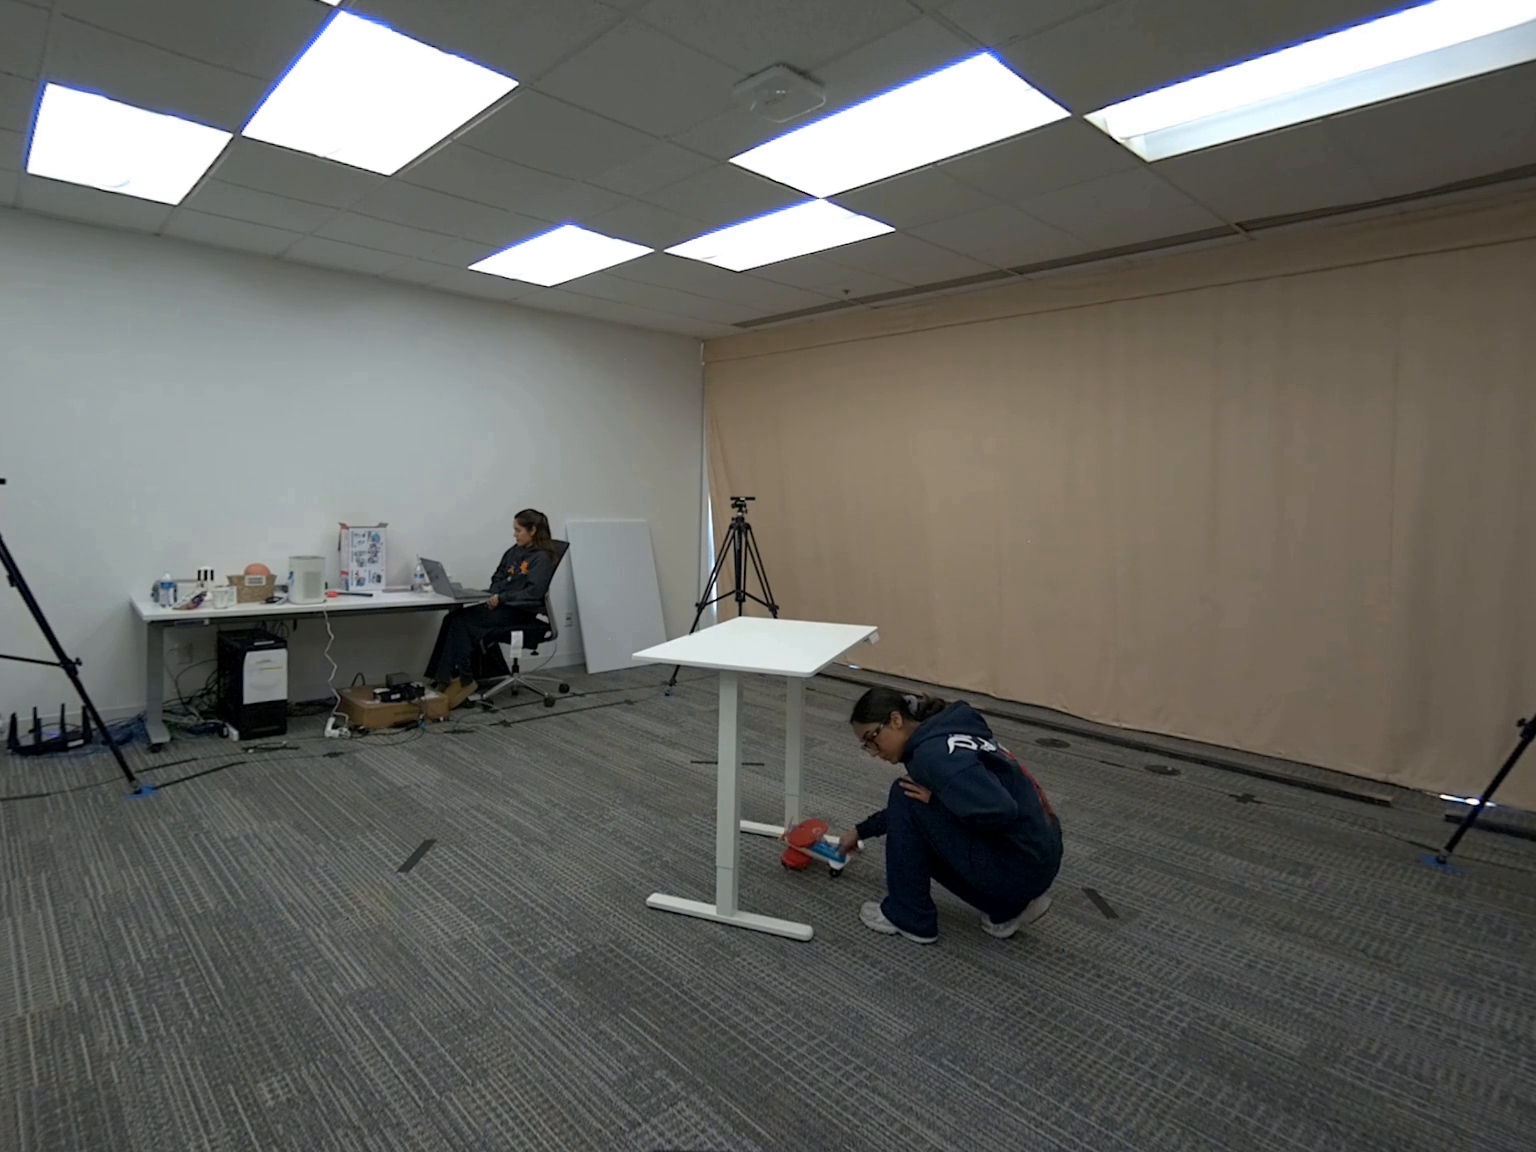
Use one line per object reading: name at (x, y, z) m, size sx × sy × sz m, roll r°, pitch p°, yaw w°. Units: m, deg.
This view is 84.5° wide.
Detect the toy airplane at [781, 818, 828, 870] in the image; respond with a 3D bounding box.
toy airplane at (0.179, 1.030, 3.194) m, size 0.260 × 0.156 × 0.251 m, roll -1°, pitch 5°, yaw 1°
